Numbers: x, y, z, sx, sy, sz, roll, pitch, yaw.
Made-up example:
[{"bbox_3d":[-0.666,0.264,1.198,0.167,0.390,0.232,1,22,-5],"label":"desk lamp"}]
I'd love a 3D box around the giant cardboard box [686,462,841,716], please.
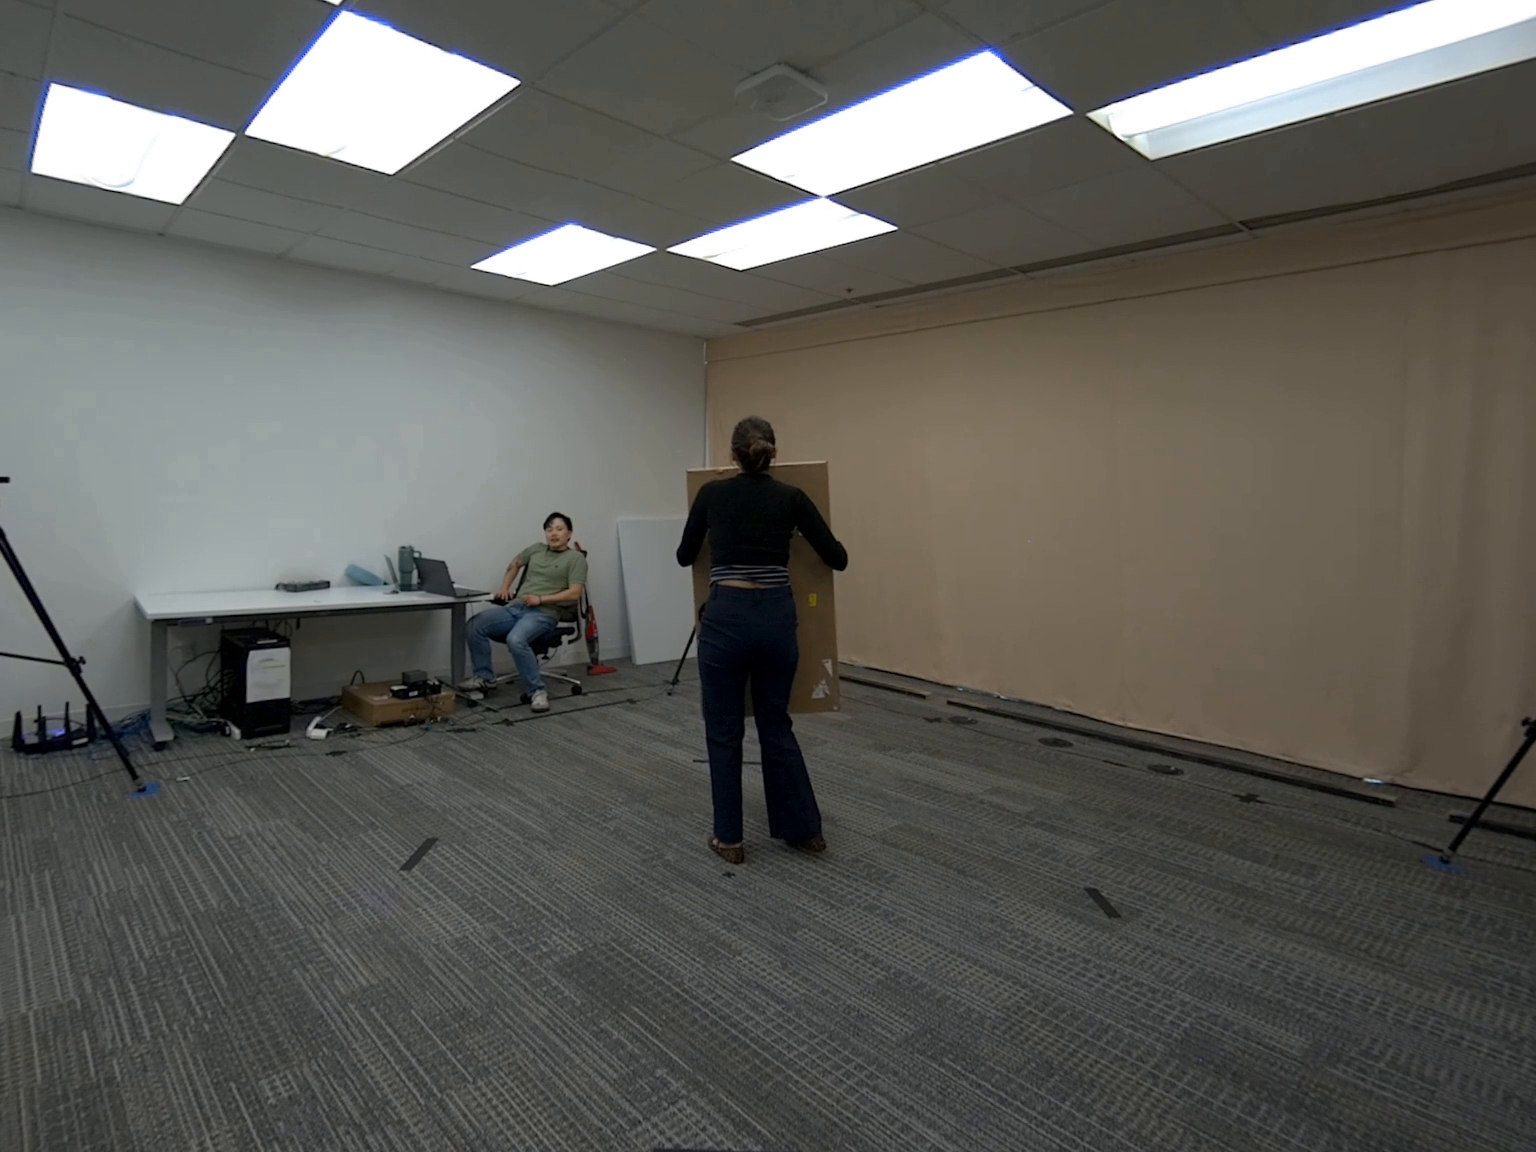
[{"bbox_3d":[-0.031,0.044,3.608,0.577,1.021,0.428,-3,5,-1],"label":"giant cardboard box"}]
